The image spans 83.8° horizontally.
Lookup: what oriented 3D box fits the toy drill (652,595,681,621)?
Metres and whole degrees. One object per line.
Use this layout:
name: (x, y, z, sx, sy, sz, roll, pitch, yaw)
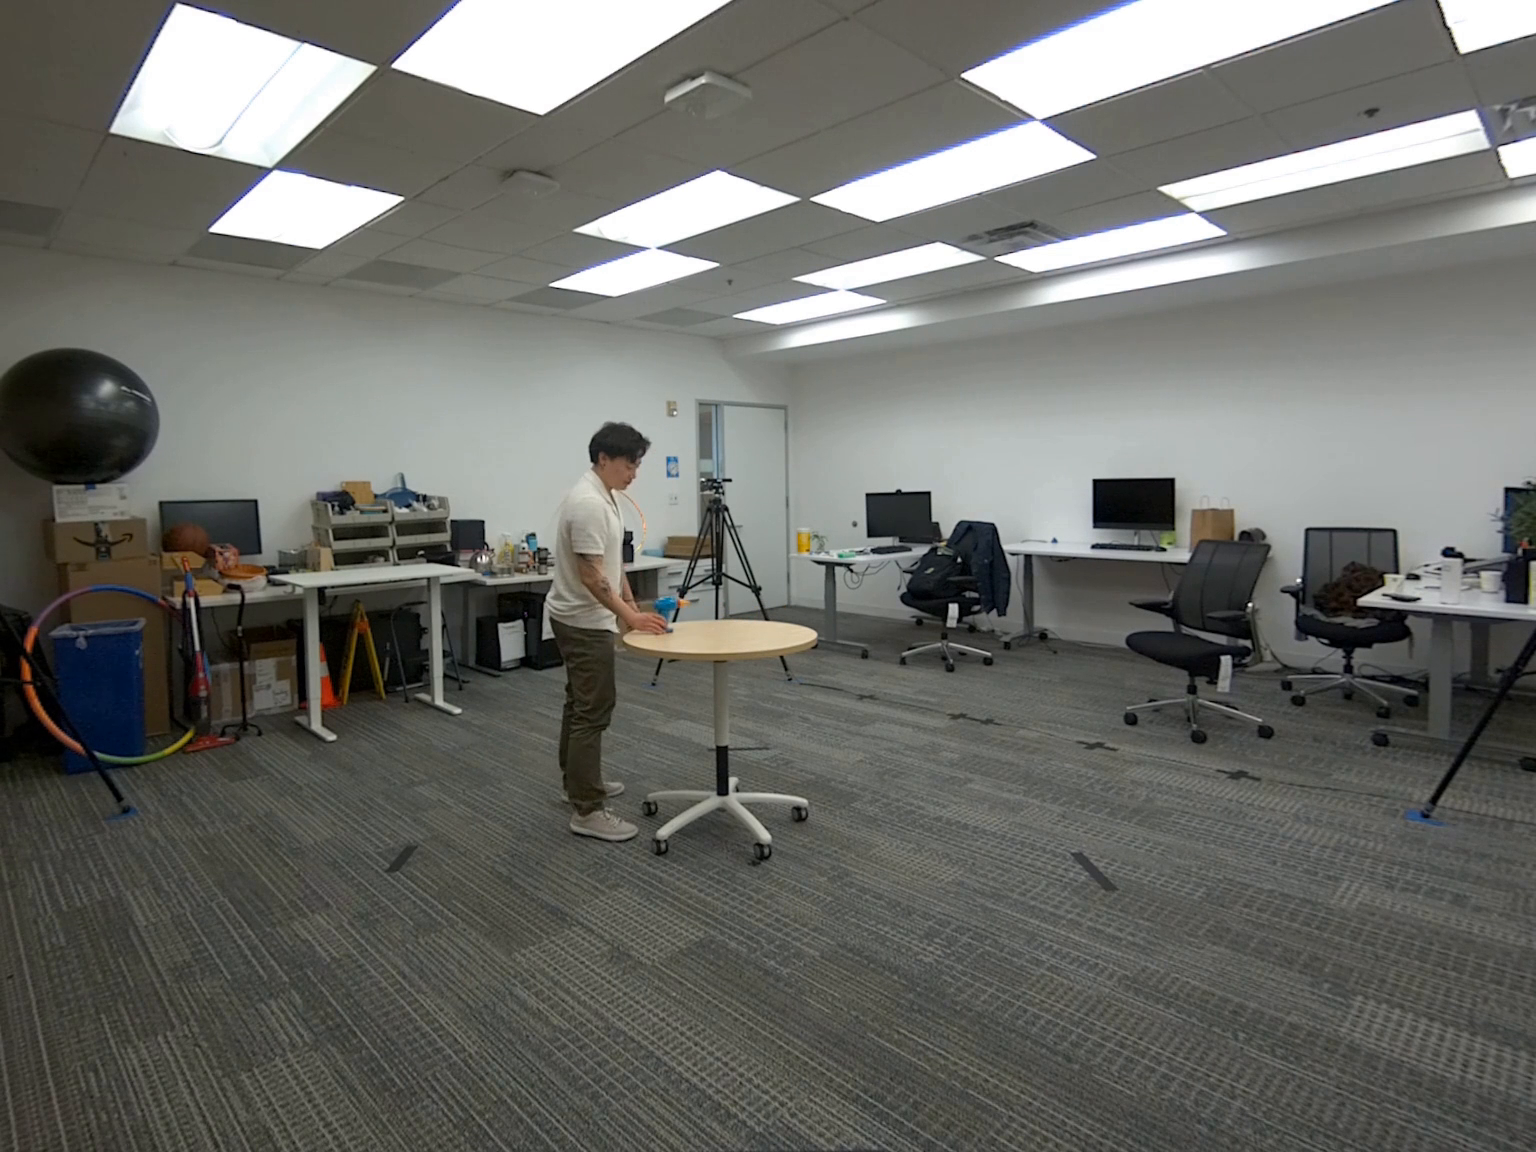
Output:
toy drill: (-0.376, 0.152, 3.465, 0.166, 0.145, 0.063, -4, 9, -28)
